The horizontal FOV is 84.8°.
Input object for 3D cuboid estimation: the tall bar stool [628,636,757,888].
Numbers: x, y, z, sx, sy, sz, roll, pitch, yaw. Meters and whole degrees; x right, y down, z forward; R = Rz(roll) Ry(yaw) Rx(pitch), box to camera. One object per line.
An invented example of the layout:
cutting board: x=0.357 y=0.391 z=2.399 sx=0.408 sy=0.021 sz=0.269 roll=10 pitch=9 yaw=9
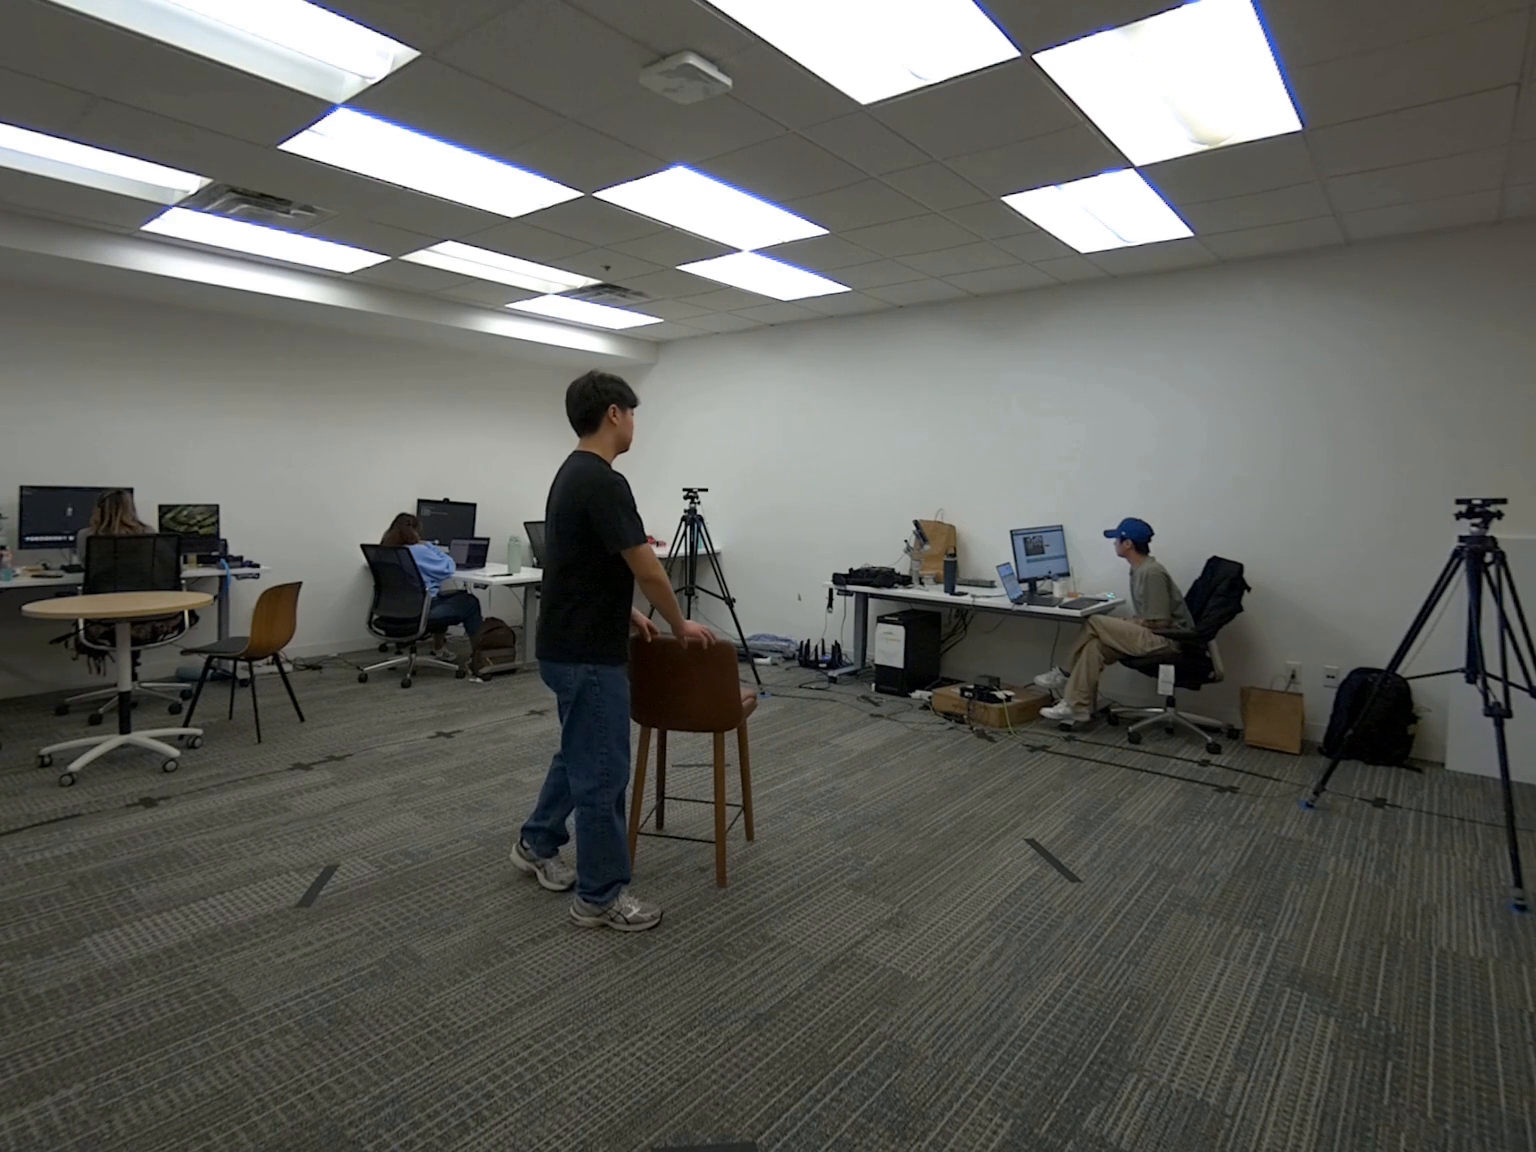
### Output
tall bar stool: x=-0.298 y=0.623 z=3.194 sx=0.464 sy=0.886 sz=0.462 roll=2 pitch=5 yaw=13
